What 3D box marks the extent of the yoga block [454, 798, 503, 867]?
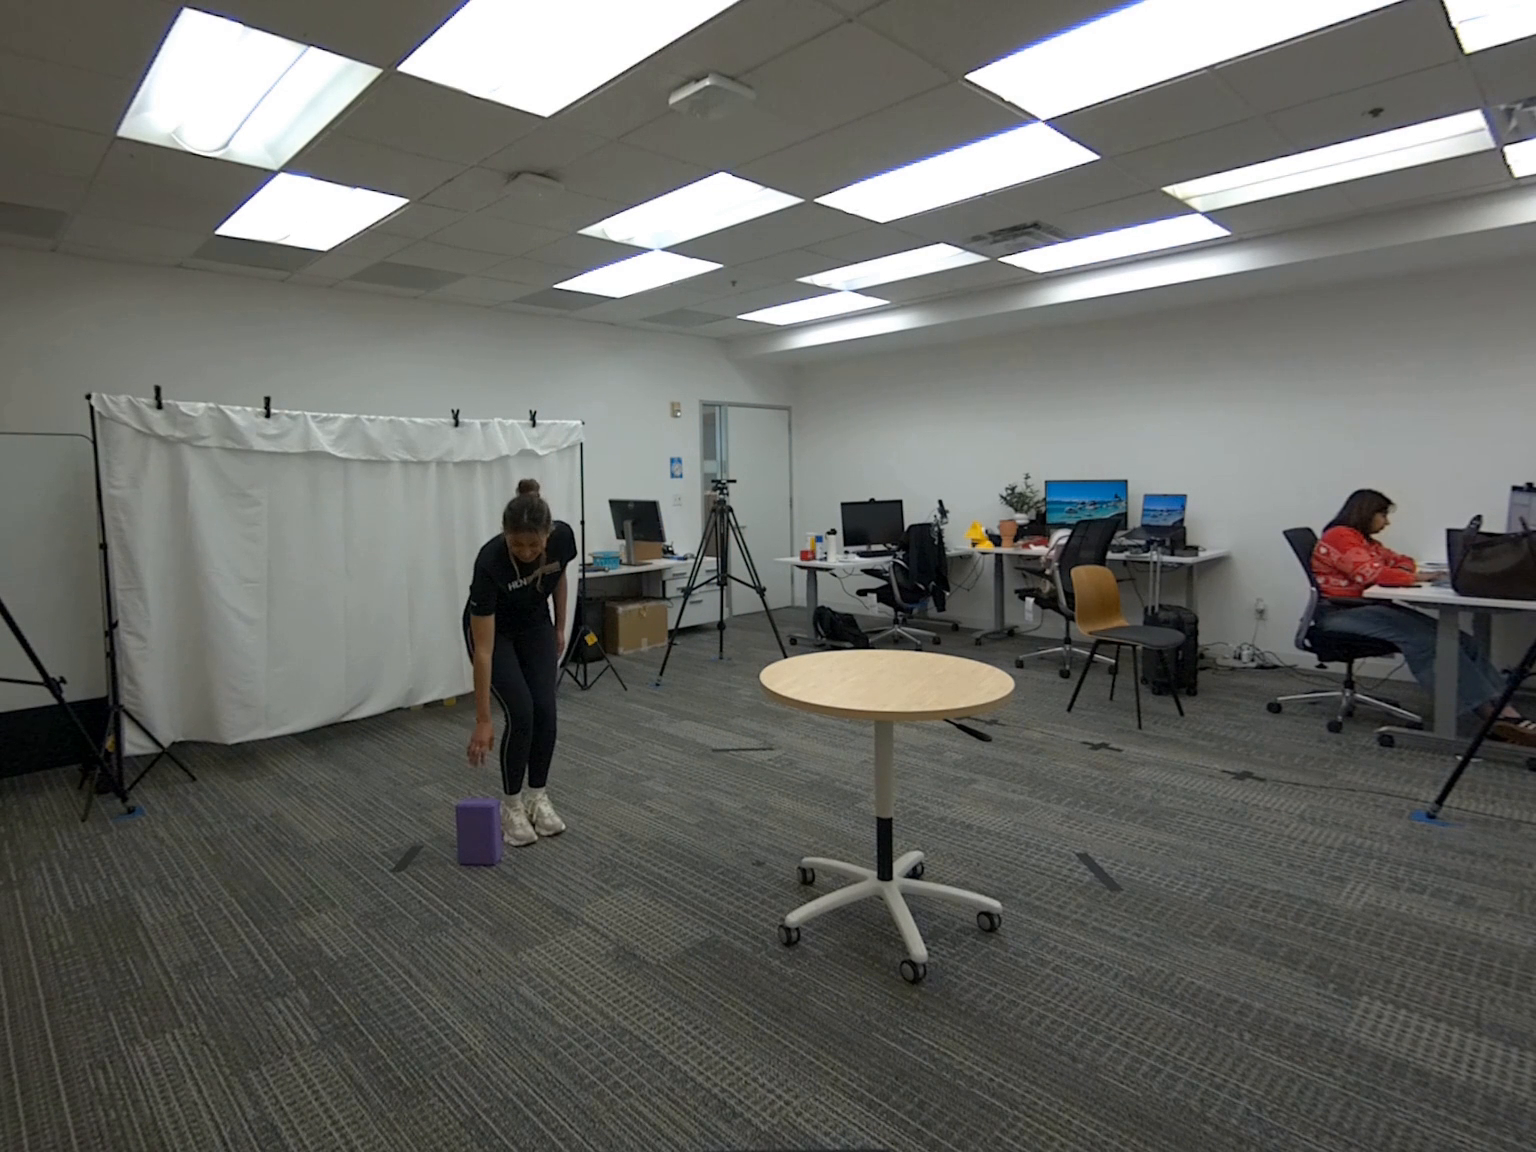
[{"bbox_3d":[-1.083,0.954,3.171,0.150,0.228,0.076,-6,4,6],"label":"yoga block"}]
